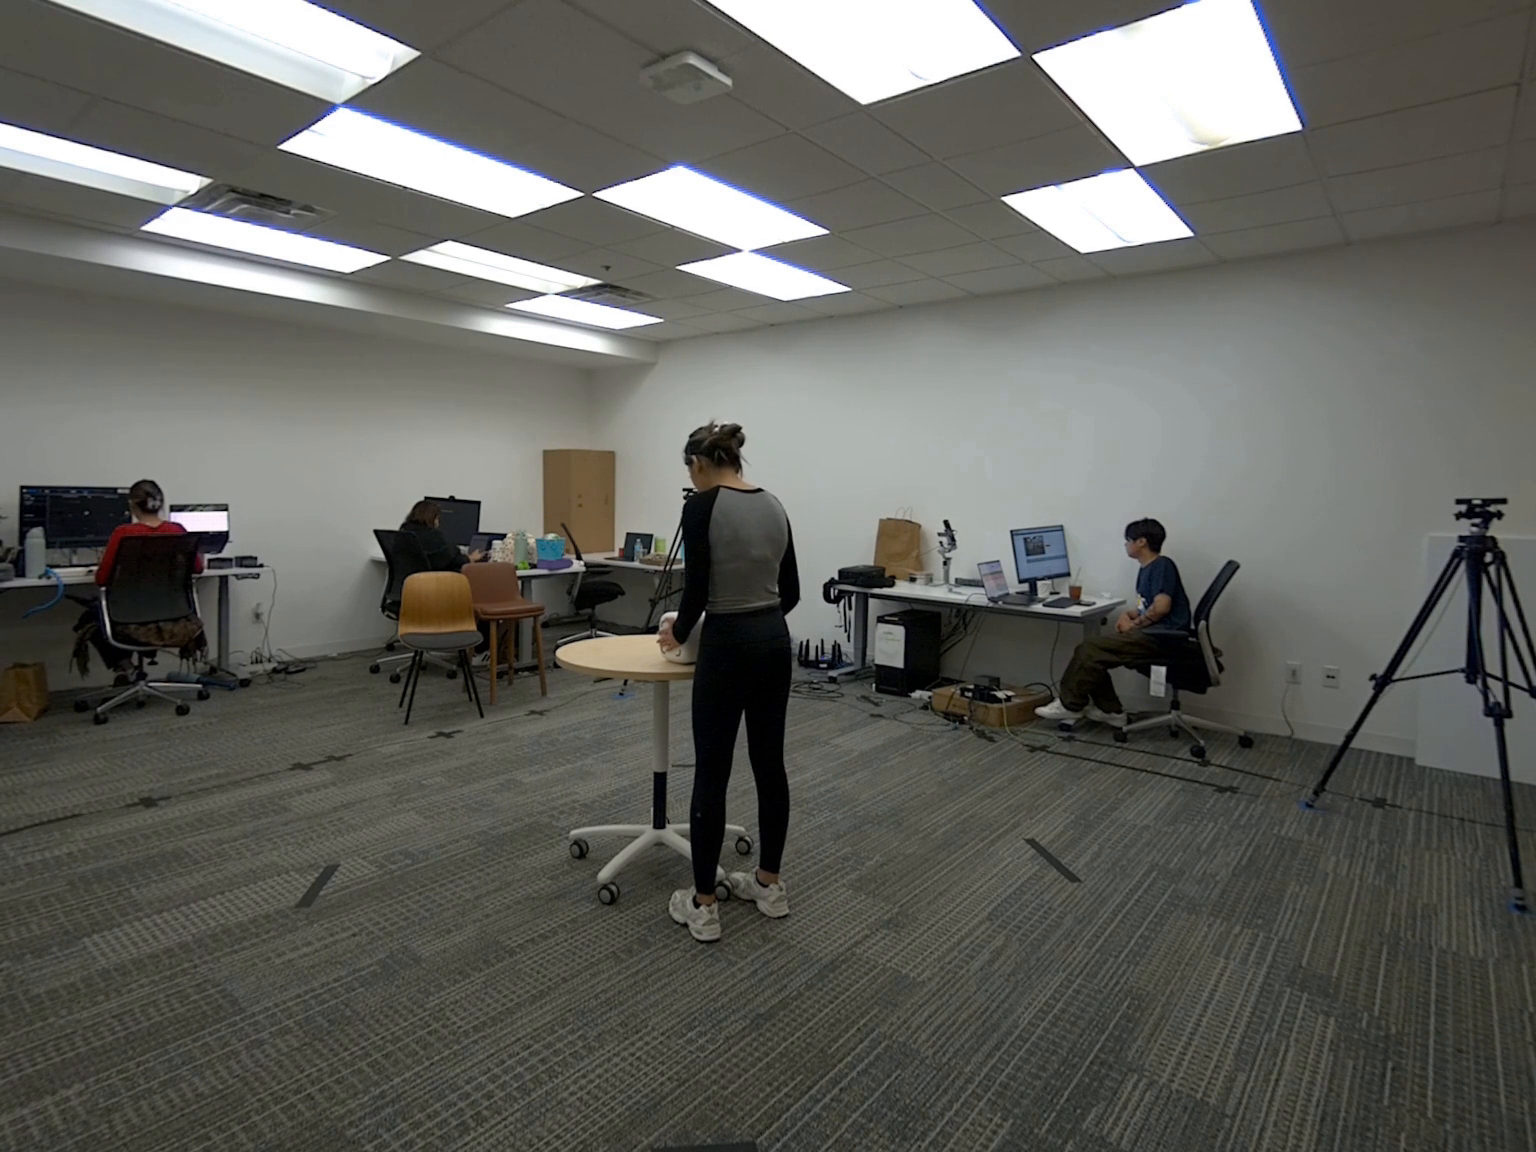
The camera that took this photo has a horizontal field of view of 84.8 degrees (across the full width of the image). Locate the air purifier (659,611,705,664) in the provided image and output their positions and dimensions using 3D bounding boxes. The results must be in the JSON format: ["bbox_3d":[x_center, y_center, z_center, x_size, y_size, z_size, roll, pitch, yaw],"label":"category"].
[{"bbox_3d":[-0.242,0.200,2.957,0.257,0.171,0.177,-3,5,-42],"label":"air purifier"}]
